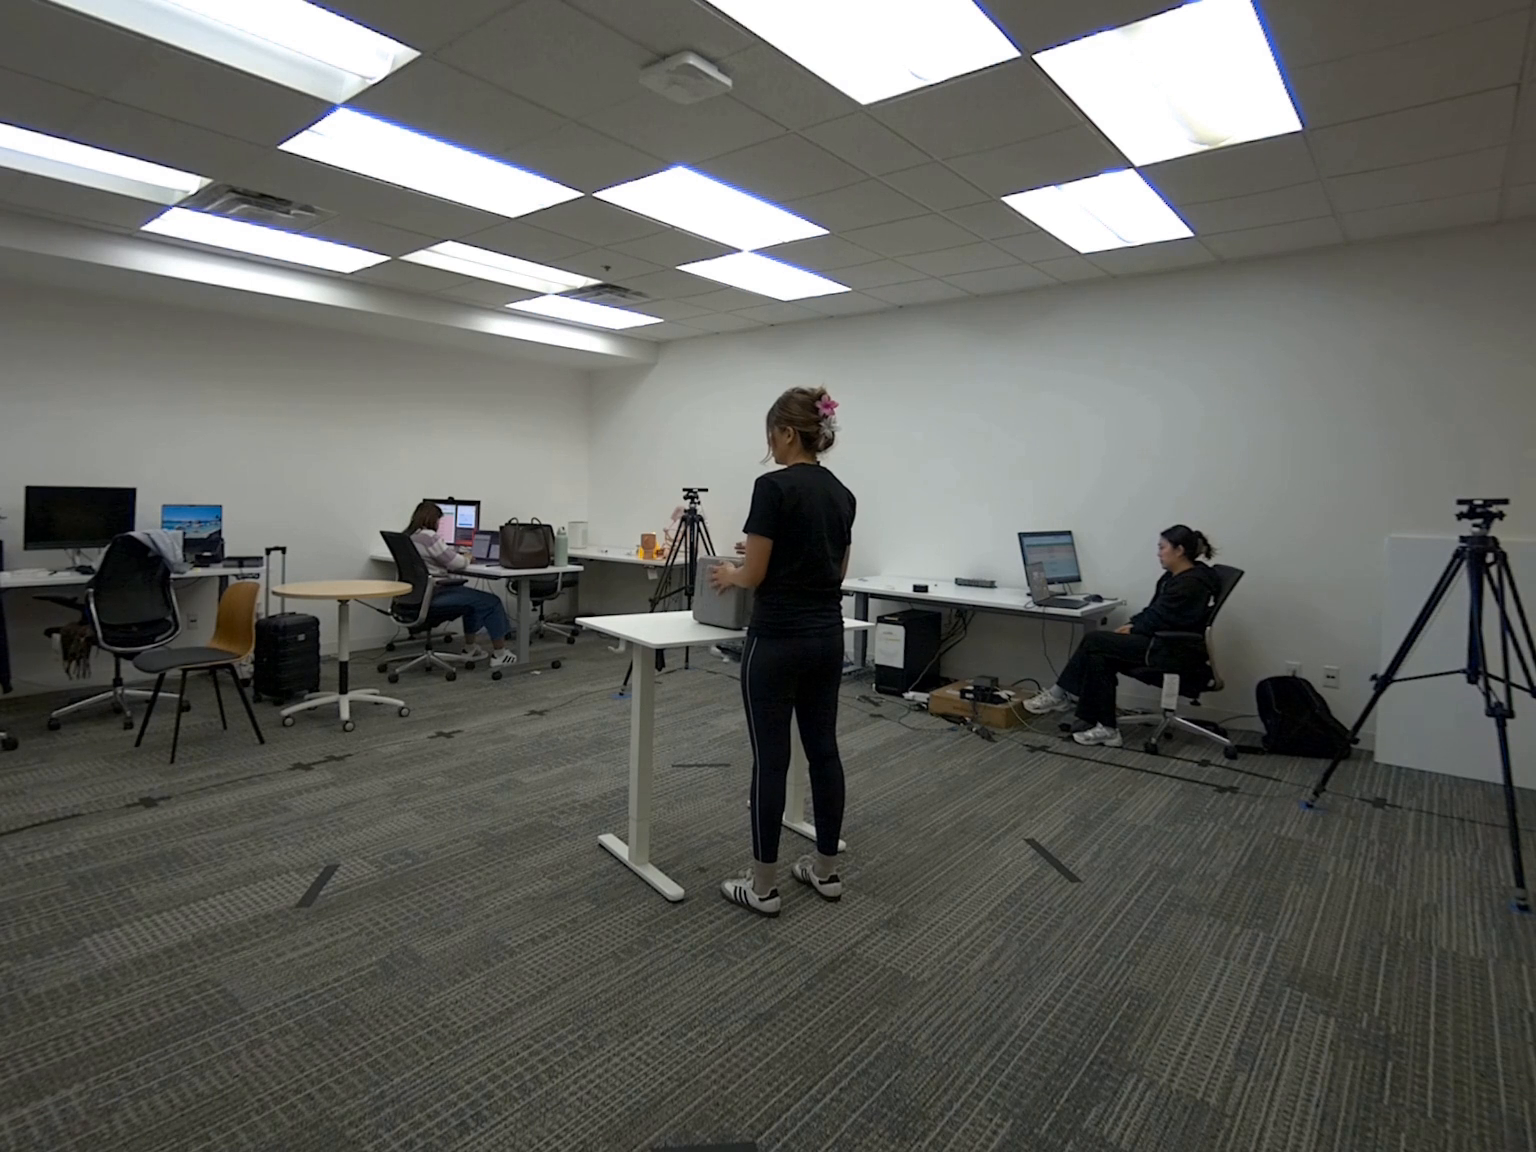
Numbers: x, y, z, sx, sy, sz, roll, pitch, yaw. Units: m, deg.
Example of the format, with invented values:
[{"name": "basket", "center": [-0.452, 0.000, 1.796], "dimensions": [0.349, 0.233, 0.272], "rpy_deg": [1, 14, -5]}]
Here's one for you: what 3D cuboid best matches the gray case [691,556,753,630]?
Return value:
[{"name": "gray case", "center": [-0.169, 0.052, 3.156], "dimensions": [0.101, 0.257, 0.269], "rpy_deg": [6, 0, -41]}]
